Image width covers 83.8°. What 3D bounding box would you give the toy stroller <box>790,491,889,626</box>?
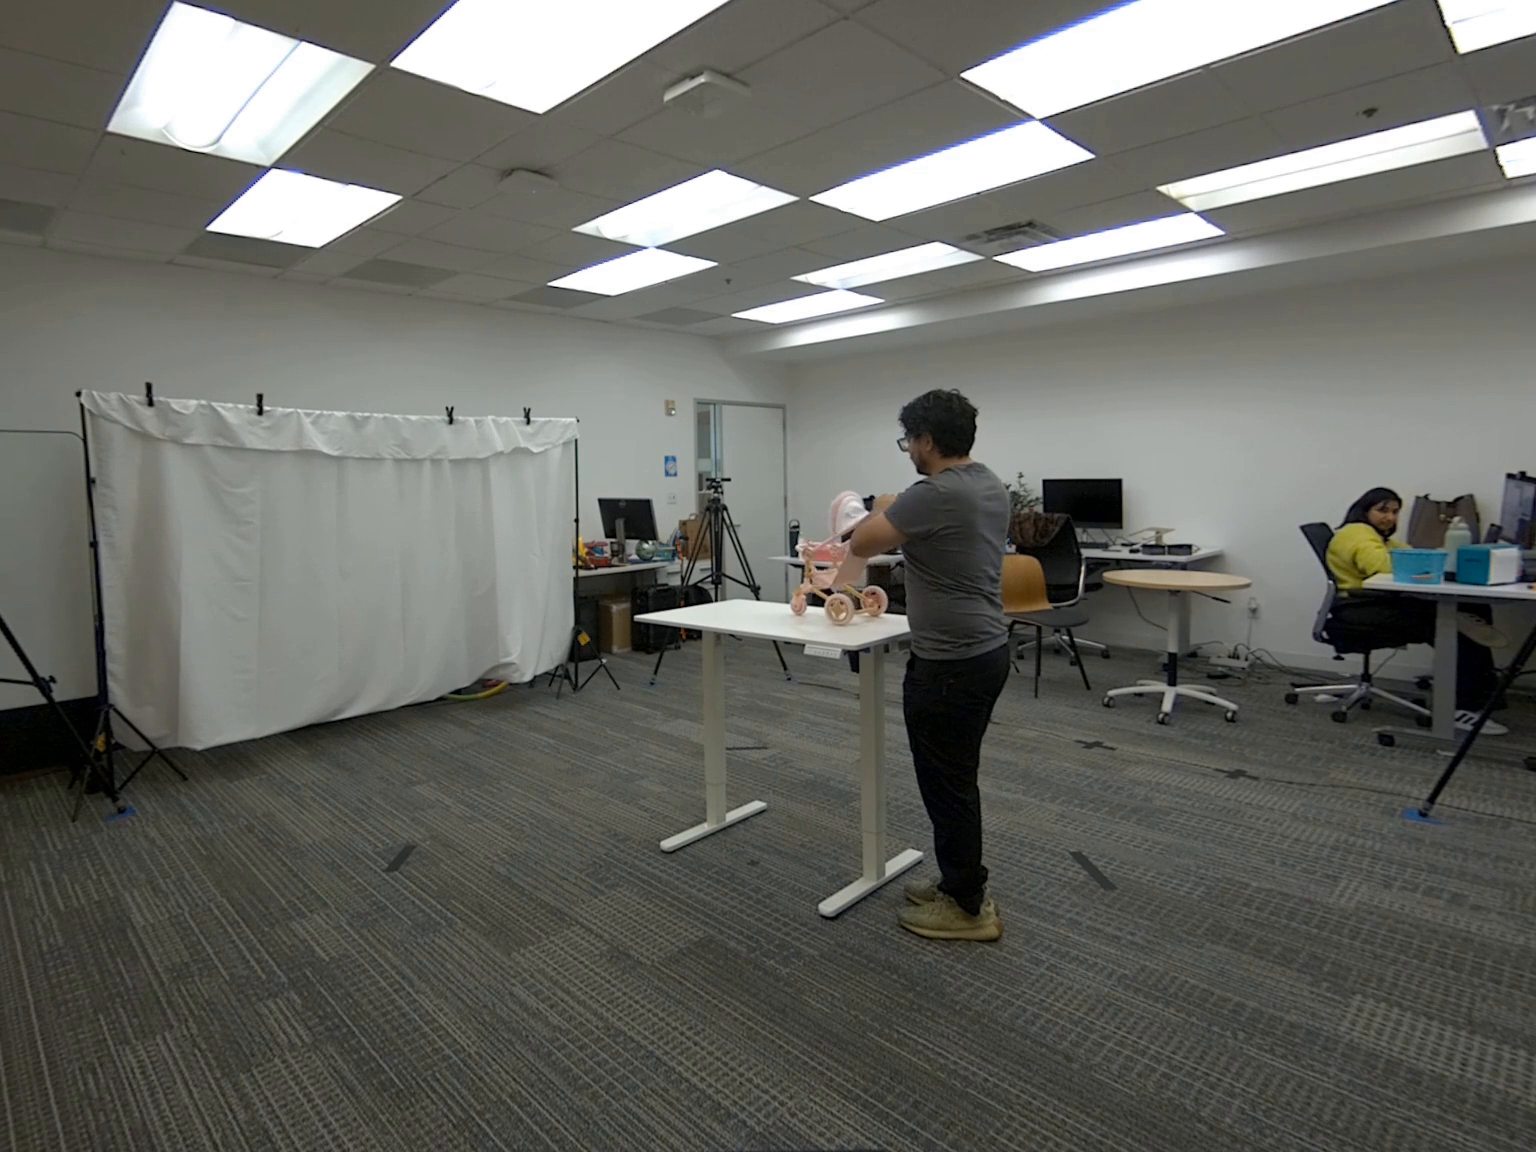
[{"bbox_3d":[0.264,-0.066,3.059,0.354,0.529,0.274,23,19,39],"label":"toy stroller"}]
